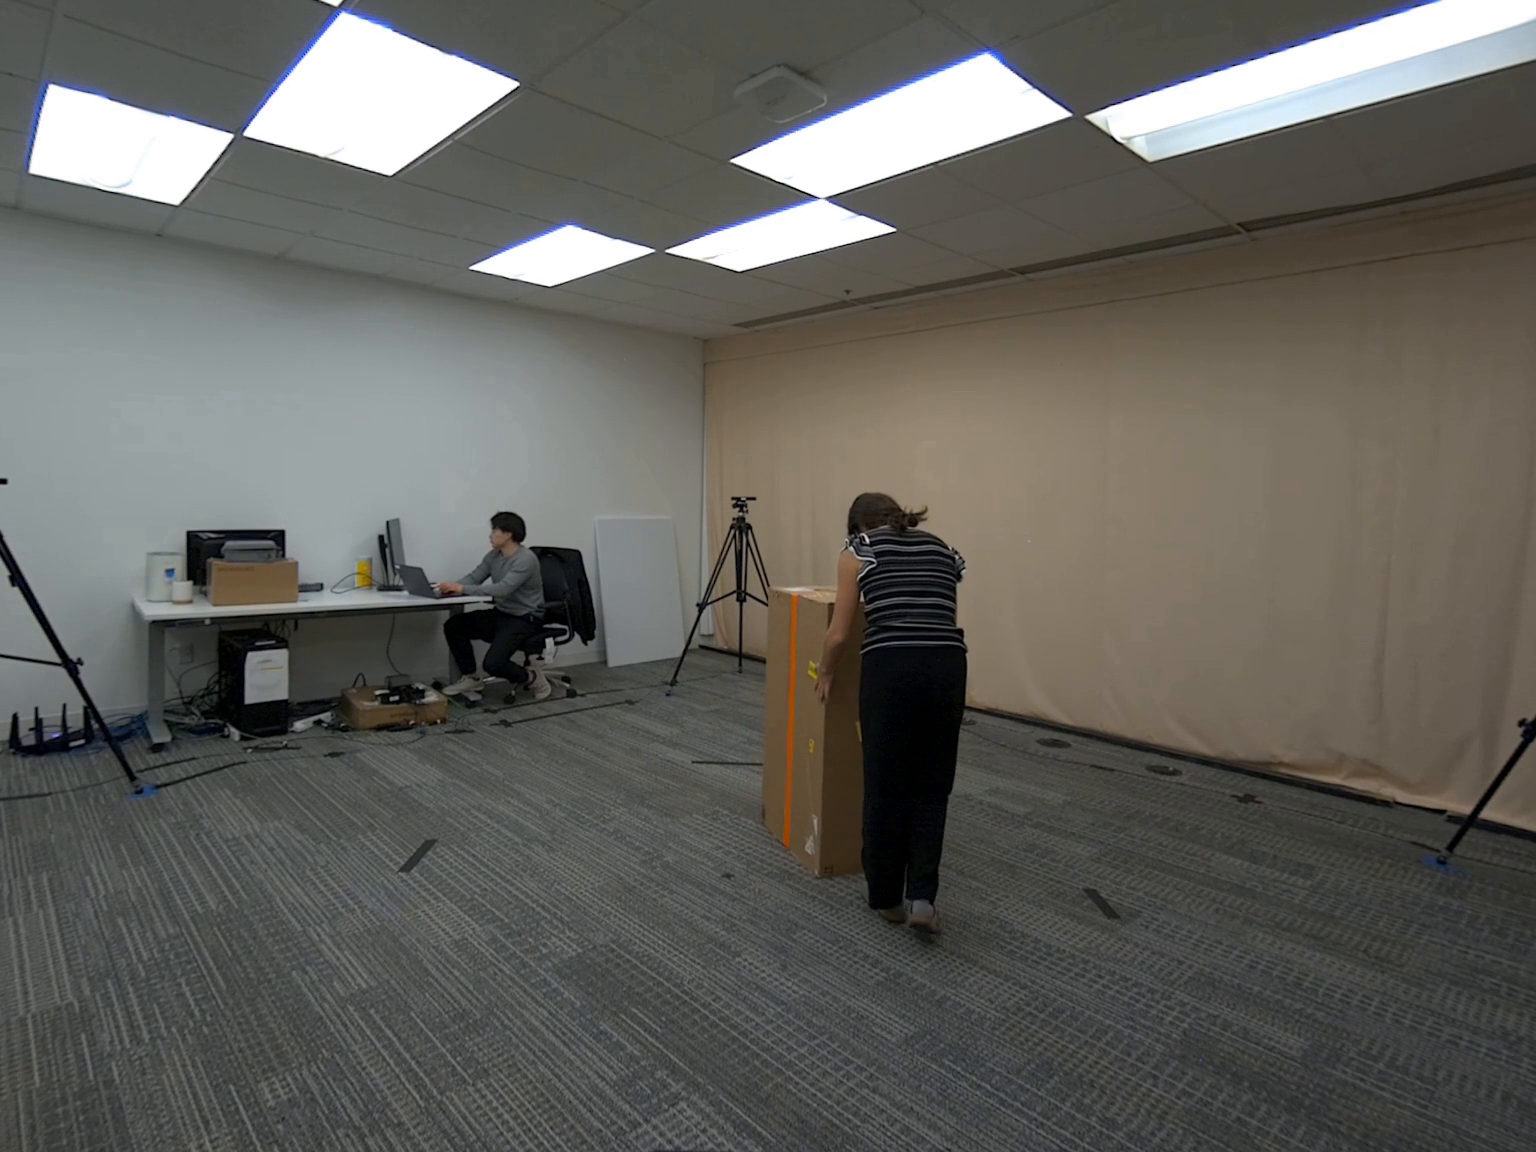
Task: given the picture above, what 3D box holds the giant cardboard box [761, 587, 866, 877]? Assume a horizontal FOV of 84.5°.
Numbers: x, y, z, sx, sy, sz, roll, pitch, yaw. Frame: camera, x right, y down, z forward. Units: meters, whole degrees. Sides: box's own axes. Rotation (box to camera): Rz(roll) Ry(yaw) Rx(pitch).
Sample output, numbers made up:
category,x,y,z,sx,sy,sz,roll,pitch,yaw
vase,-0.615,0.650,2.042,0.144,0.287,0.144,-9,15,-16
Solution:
category,x,y,z,sx,sy,sz,roll,pitch,yaw
giant cardboard box,0.277,0.581,3.413,0.419,1.024,0.588,1,3,-23
